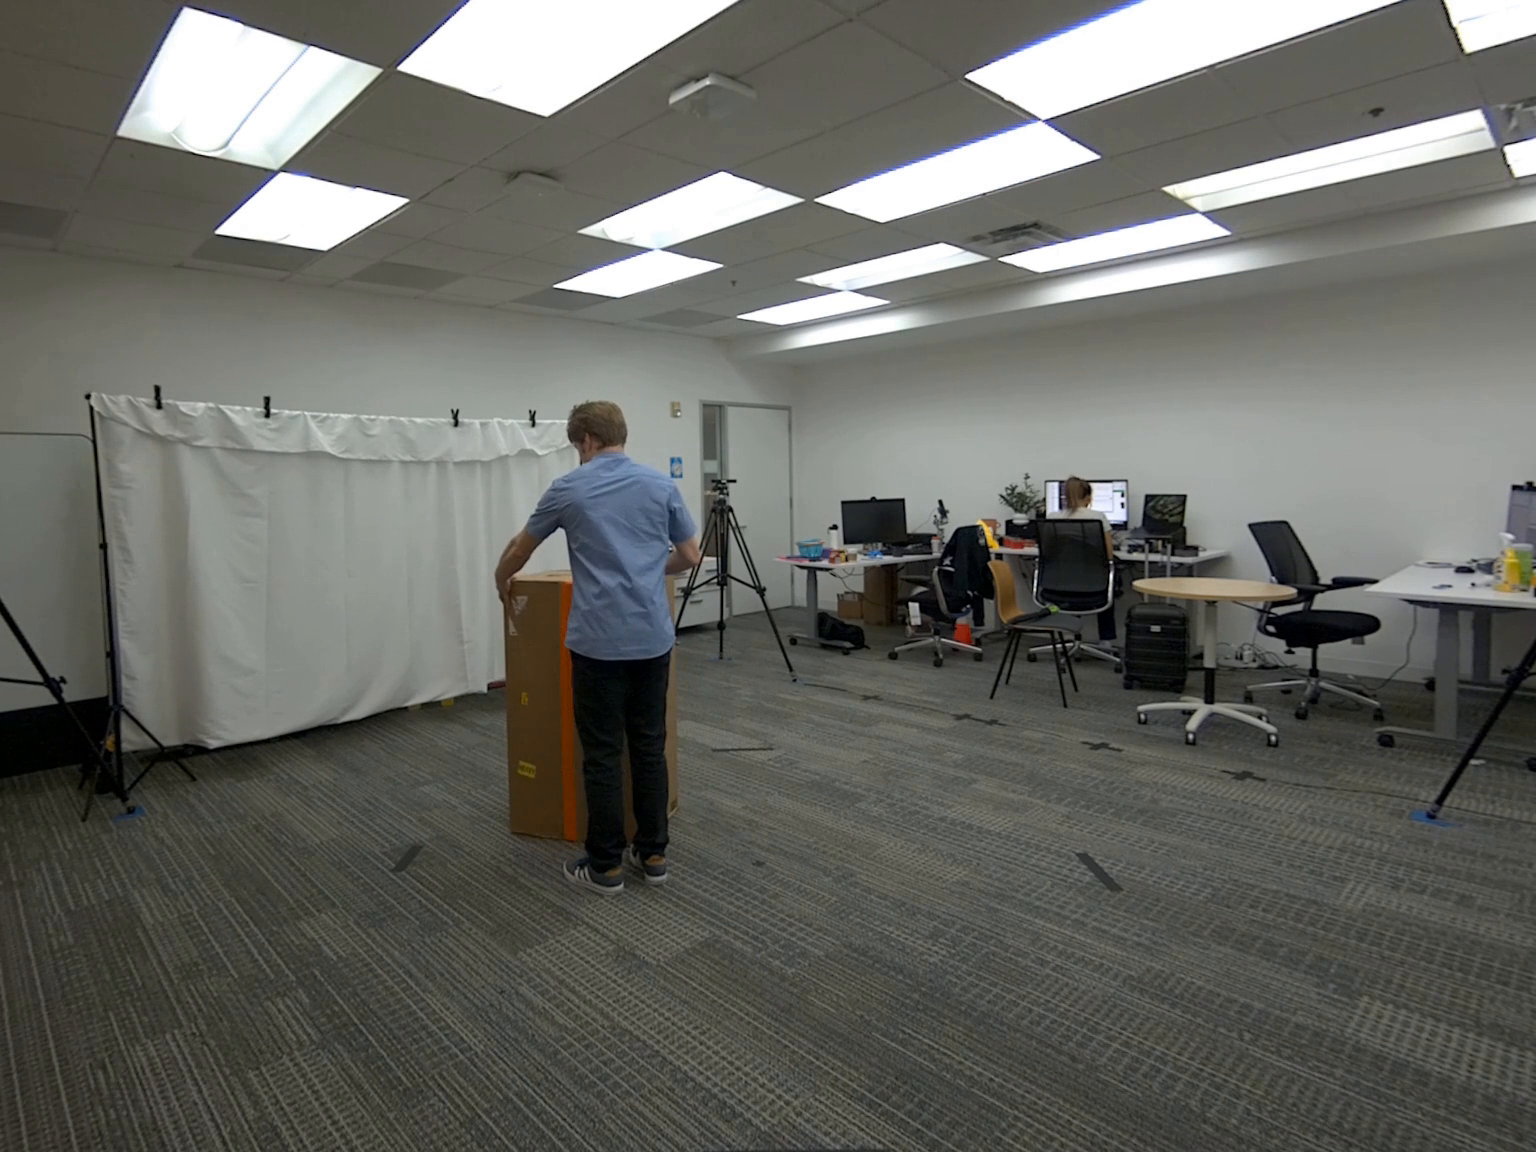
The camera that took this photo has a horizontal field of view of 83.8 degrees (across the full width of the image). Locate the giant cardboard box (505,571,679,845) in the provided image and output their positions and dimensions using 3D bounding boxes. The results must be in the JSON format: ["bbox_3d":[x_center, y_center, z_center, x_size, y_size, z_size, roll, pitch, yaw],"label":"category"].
[{"bbox_3d":[-0.715,0.510,3.513,0.587,1.023,0.420,1,3,17],"label":"giant cardboard box"}]
